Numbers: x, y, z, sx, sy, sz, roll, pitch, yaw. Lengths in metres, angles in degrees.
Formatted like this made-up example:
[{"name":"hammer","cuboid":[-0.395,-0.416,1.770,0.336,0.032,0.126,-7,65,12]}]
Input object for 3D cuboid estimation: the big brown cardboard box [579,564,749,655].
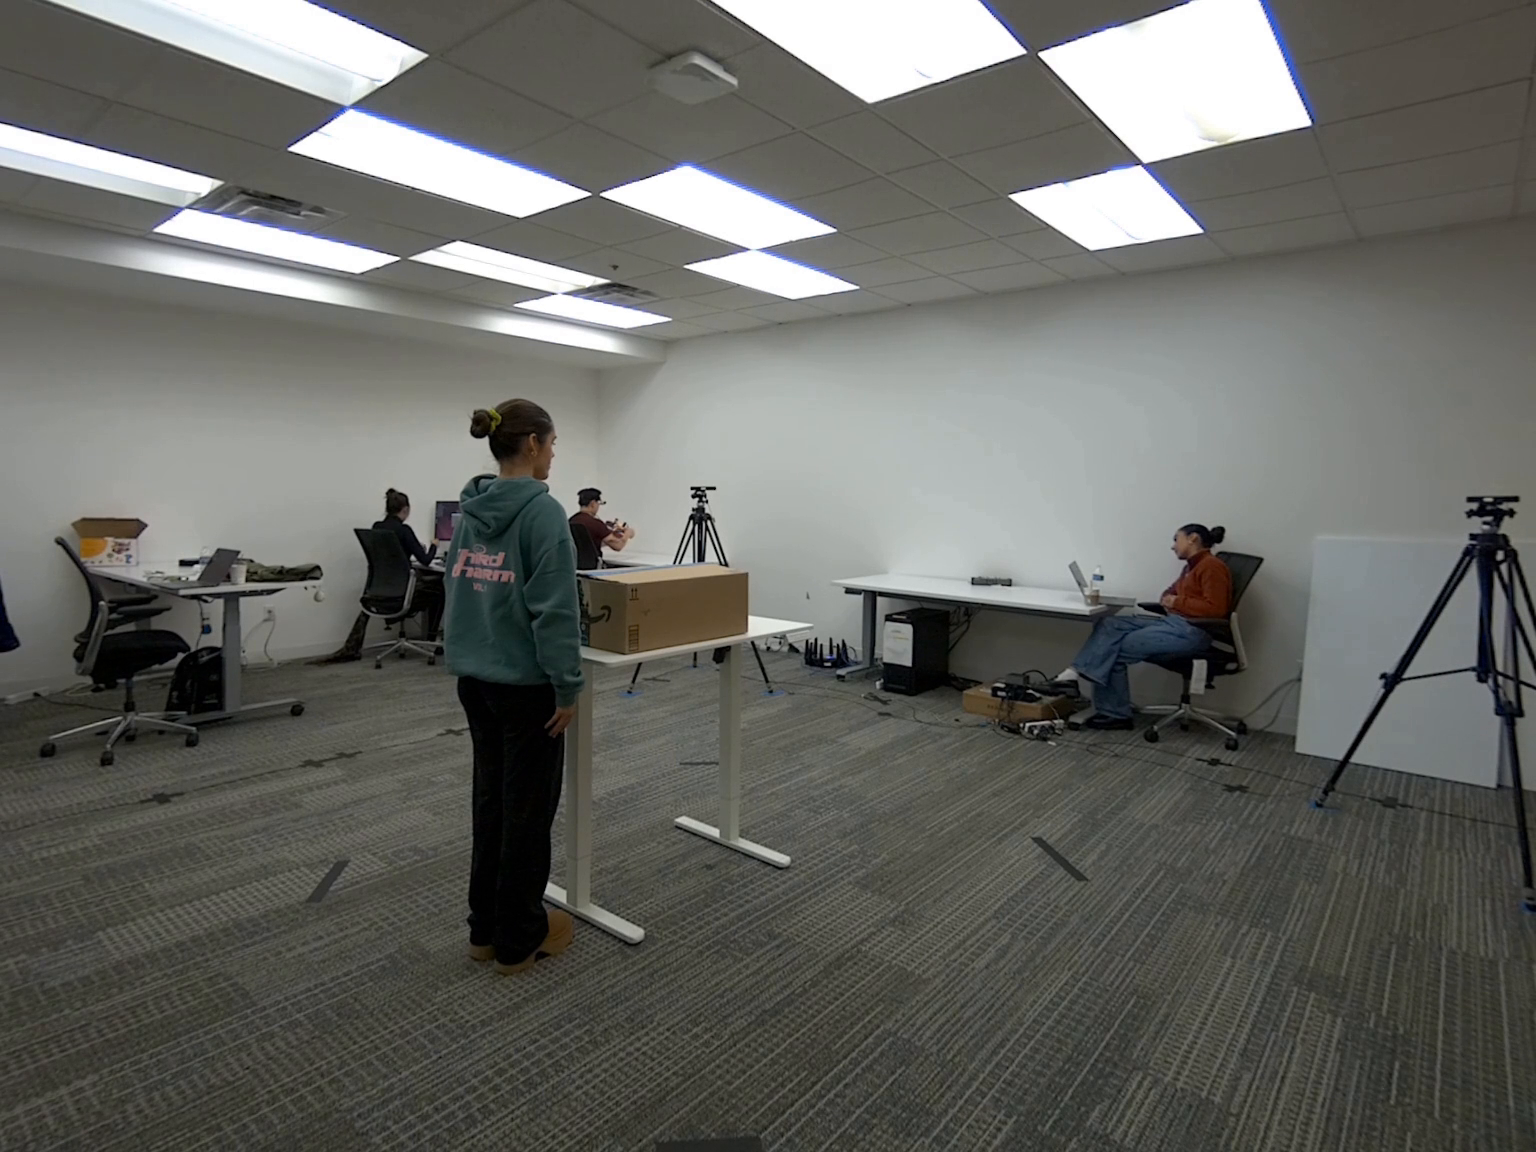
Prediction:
[{"name":"big brown cardboard box","cuboid":[-0.408,0.092,2.895,0.432,0.232,0.572,5,7,40]}]
